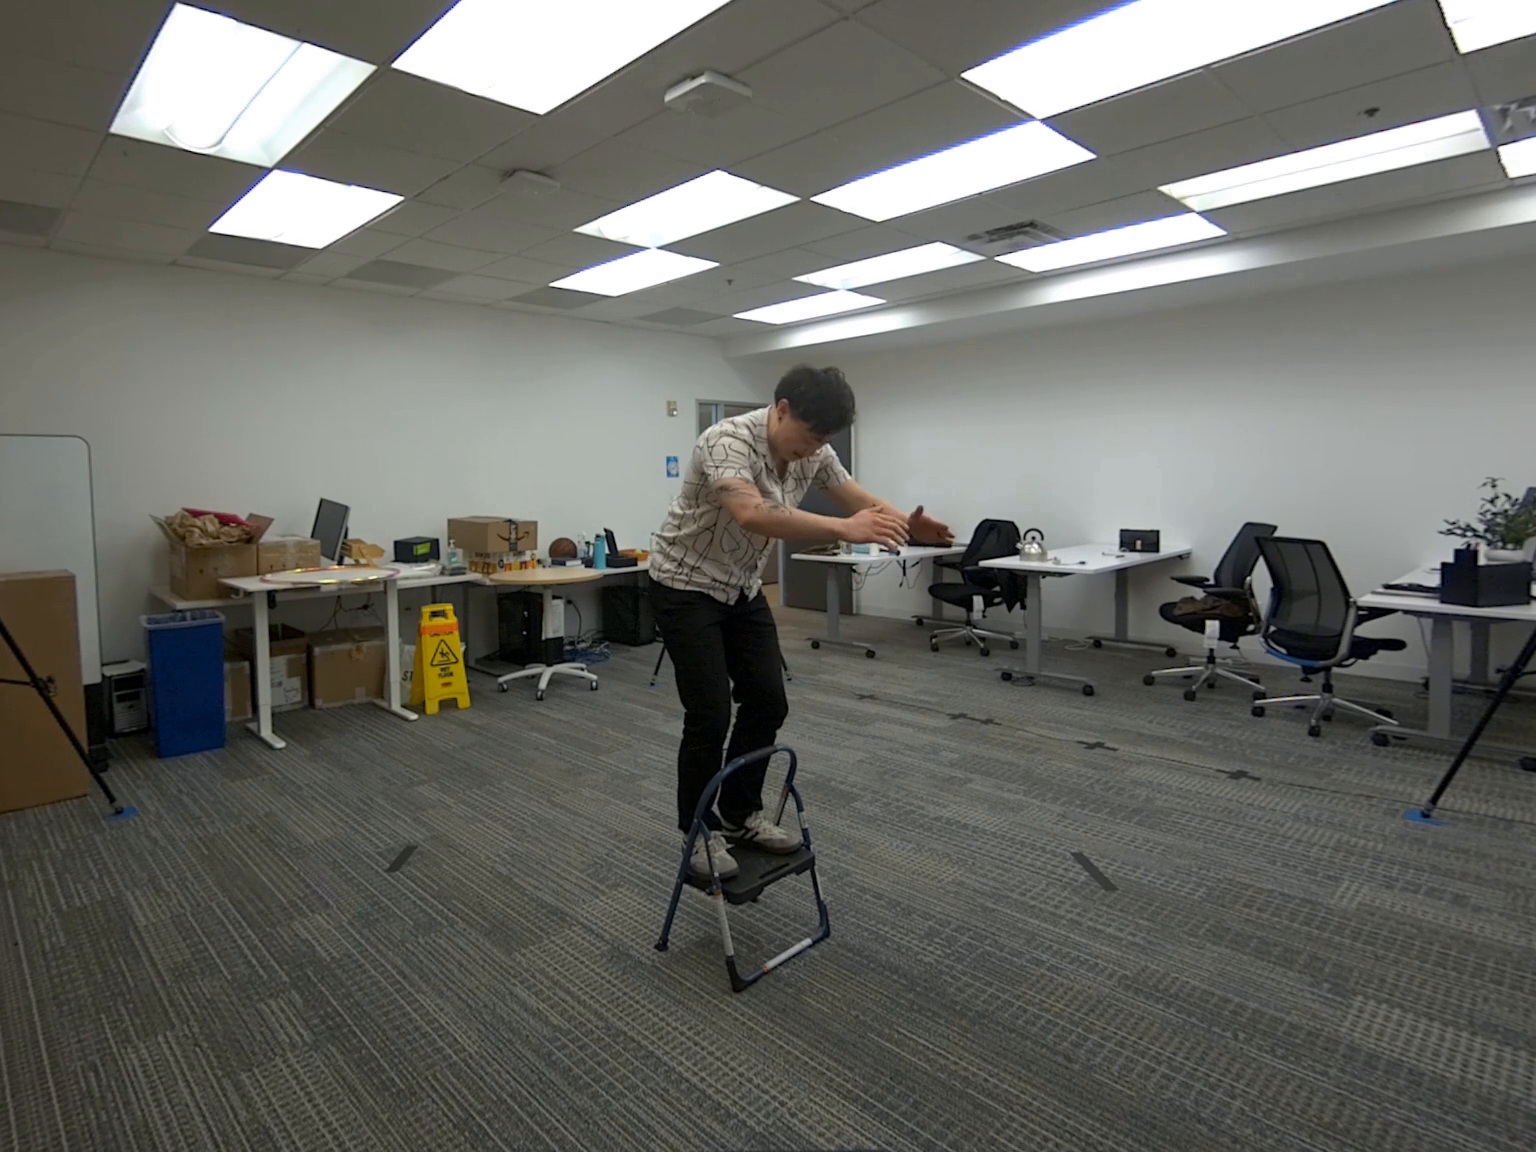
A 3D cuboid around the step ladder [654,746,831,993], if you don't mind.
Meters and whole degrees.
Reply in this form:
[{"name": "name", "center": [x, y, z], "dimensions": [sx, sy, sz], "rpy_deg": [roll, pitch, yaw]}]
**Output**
[{"name": "step ladder", "center": [-0.071, 0.804, 2.563], "dimensions": [0.360, 0.603, 0.419], "rpy_deg": [4, 7, 43]}]
